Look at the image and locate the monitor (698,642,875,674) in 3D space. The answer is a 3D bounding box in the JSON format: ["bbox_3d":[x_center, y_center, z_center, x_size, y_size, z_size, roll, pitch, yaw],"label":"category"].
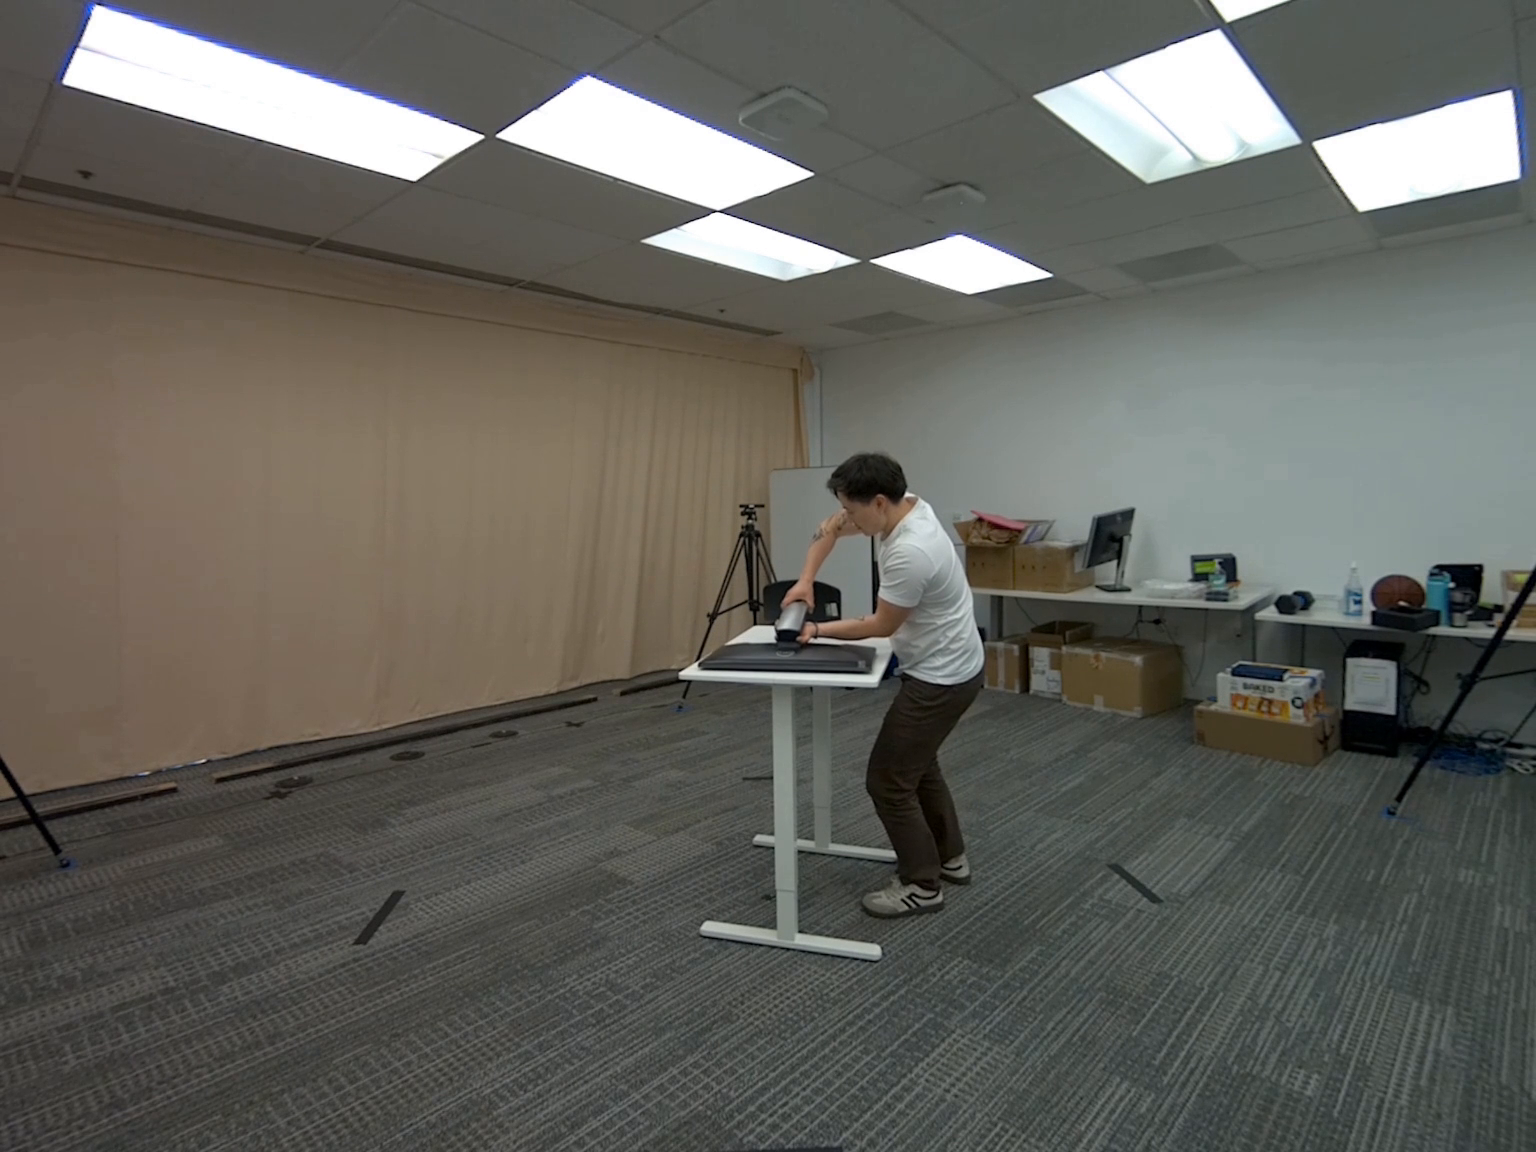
[{"bbox_3d":[0.091,0.205,2.800,0.547,0.184,0.524,-2,24,13],"label":"monitor"}]
